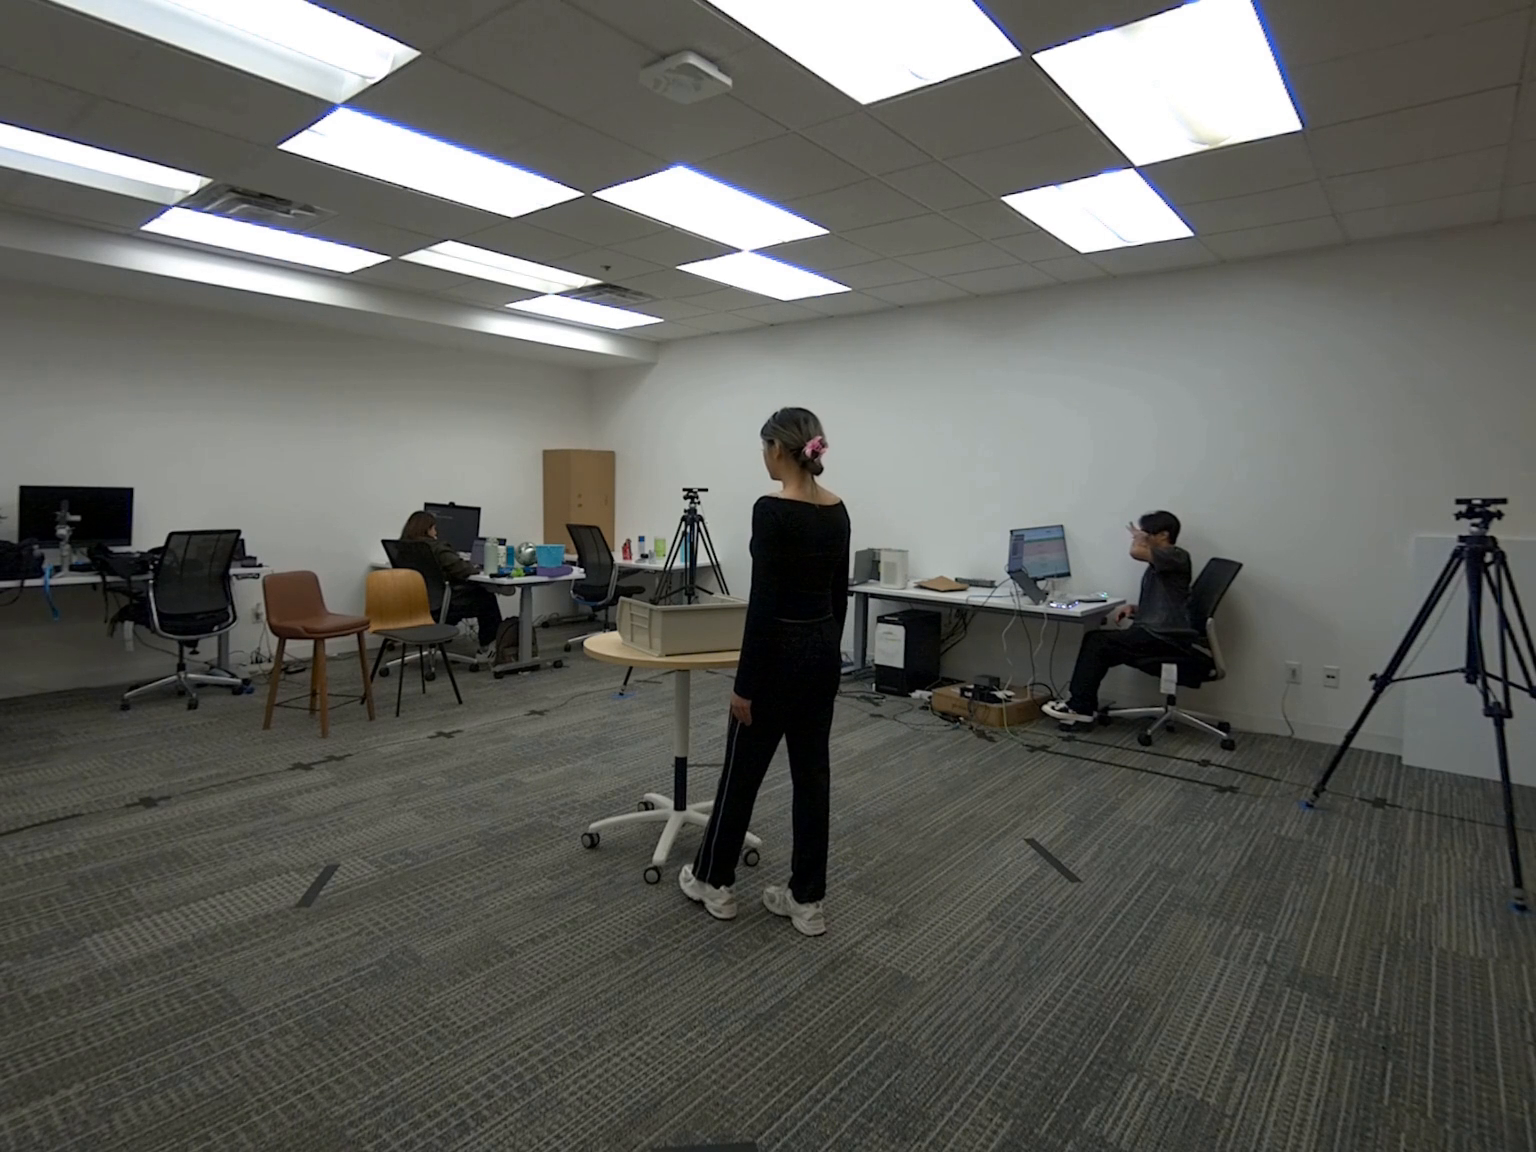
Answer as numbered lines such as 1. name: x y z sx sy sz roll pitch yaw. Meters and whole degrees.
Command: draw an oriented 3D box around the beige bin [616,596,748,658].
1. beige bin: -0.321 0.174 3.222 0.411 0.188 0.389 -1 6 -31
